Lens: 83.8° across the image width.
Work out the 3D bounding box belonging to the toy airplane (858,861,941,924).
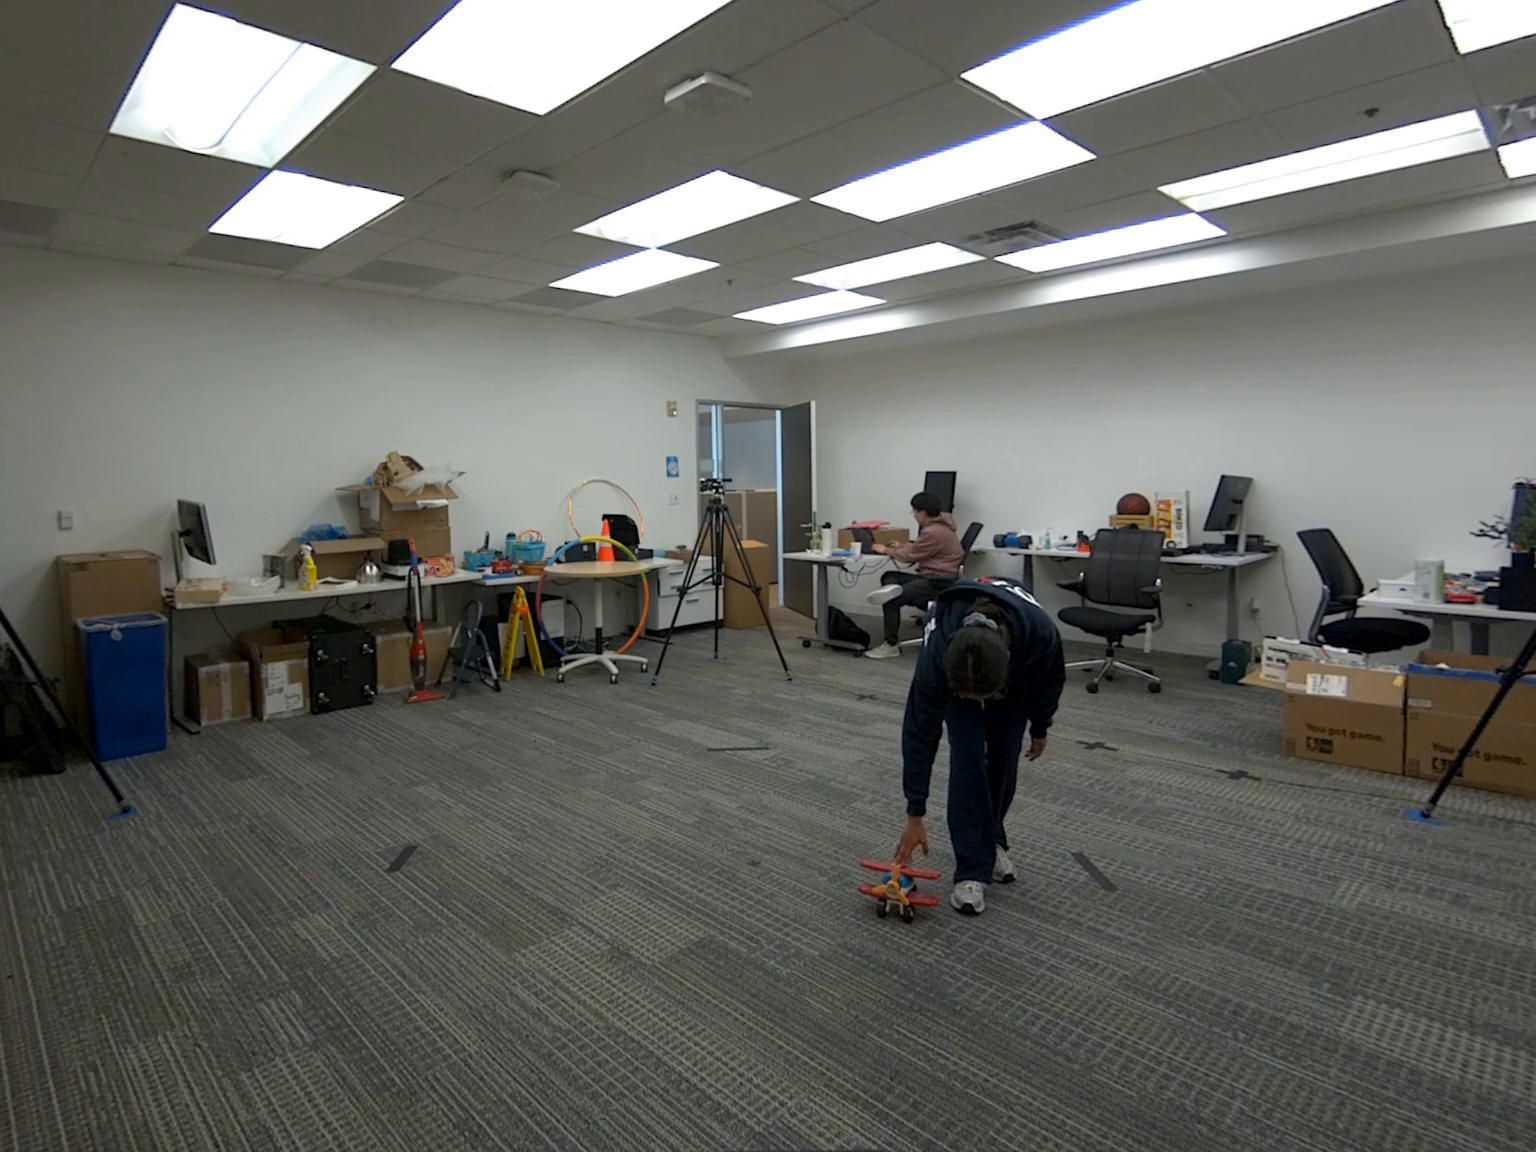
[{"bbox_3d":[0.414,1.002,2.774,0.250,0.156,0.262,-1,6,-5],"label":"toy airplane"}]
